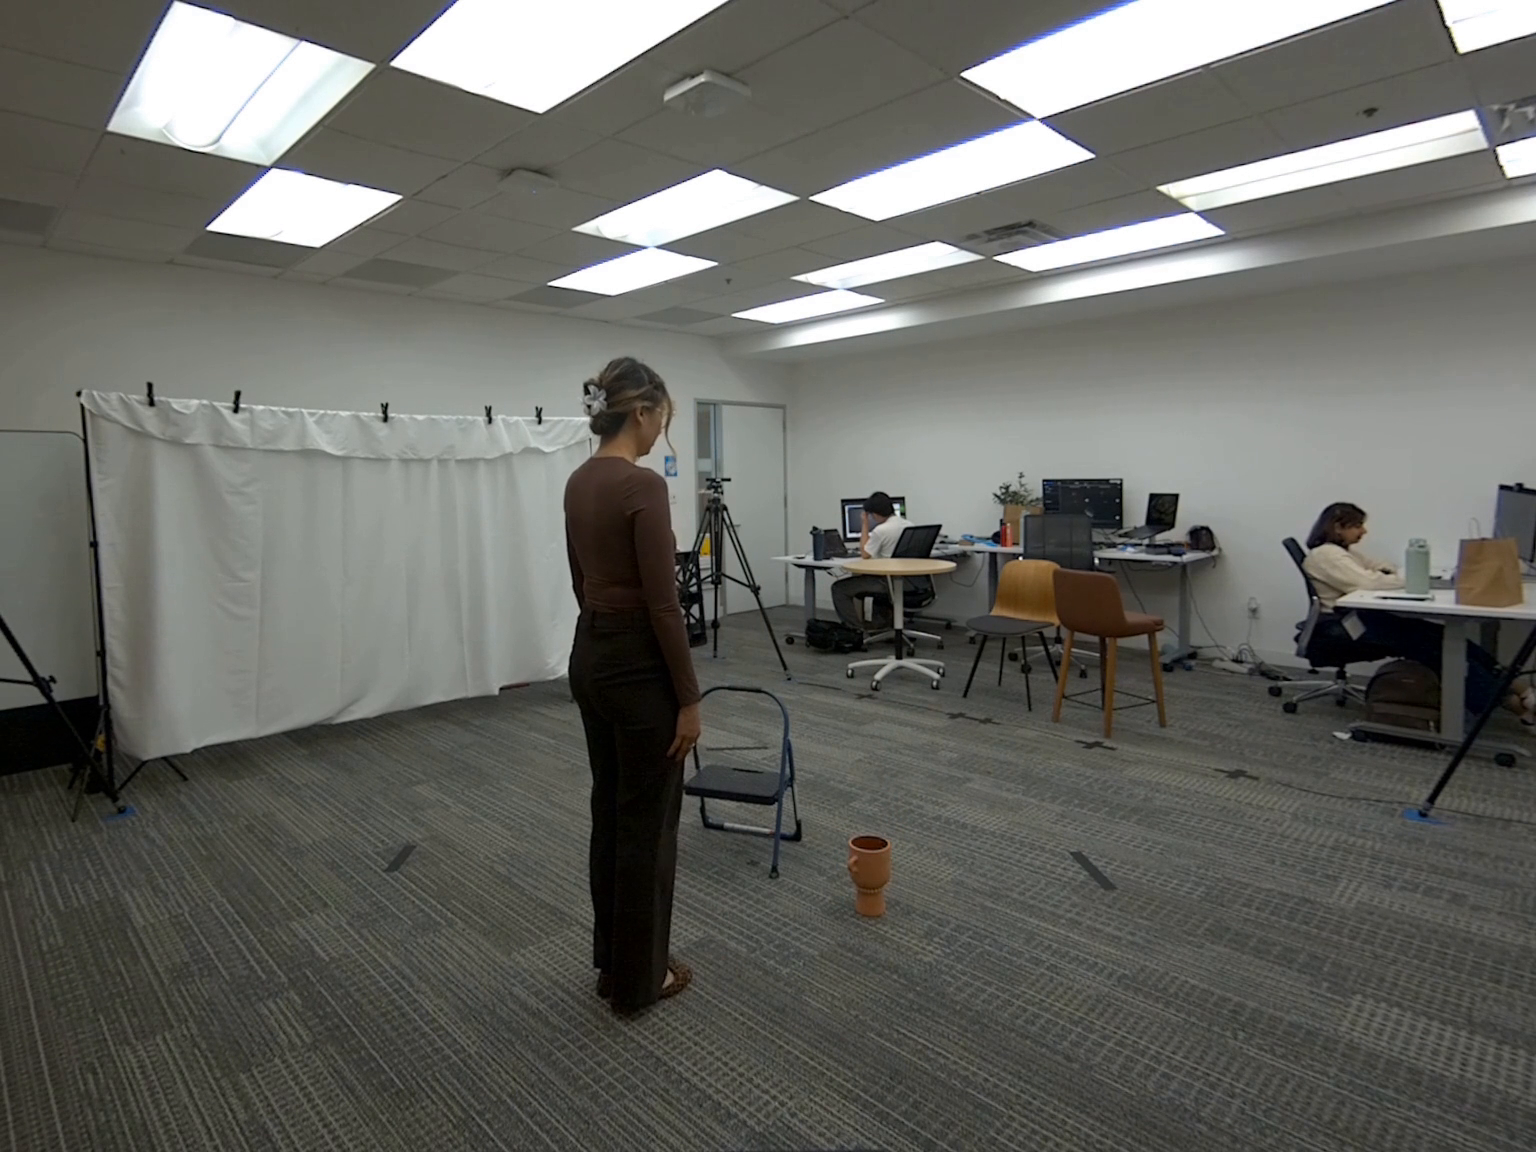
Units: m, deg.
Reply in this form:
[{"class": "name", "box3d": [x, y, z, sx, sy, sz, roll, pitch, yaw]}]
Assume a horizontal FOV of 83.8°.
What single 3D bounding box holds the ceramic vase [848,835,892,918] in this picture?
[{"class": "ceramic vase", "box3d": [0.334, 0.965, 2.746, 0.159, 0.219, 0.135, -1, 5, -1]}]
